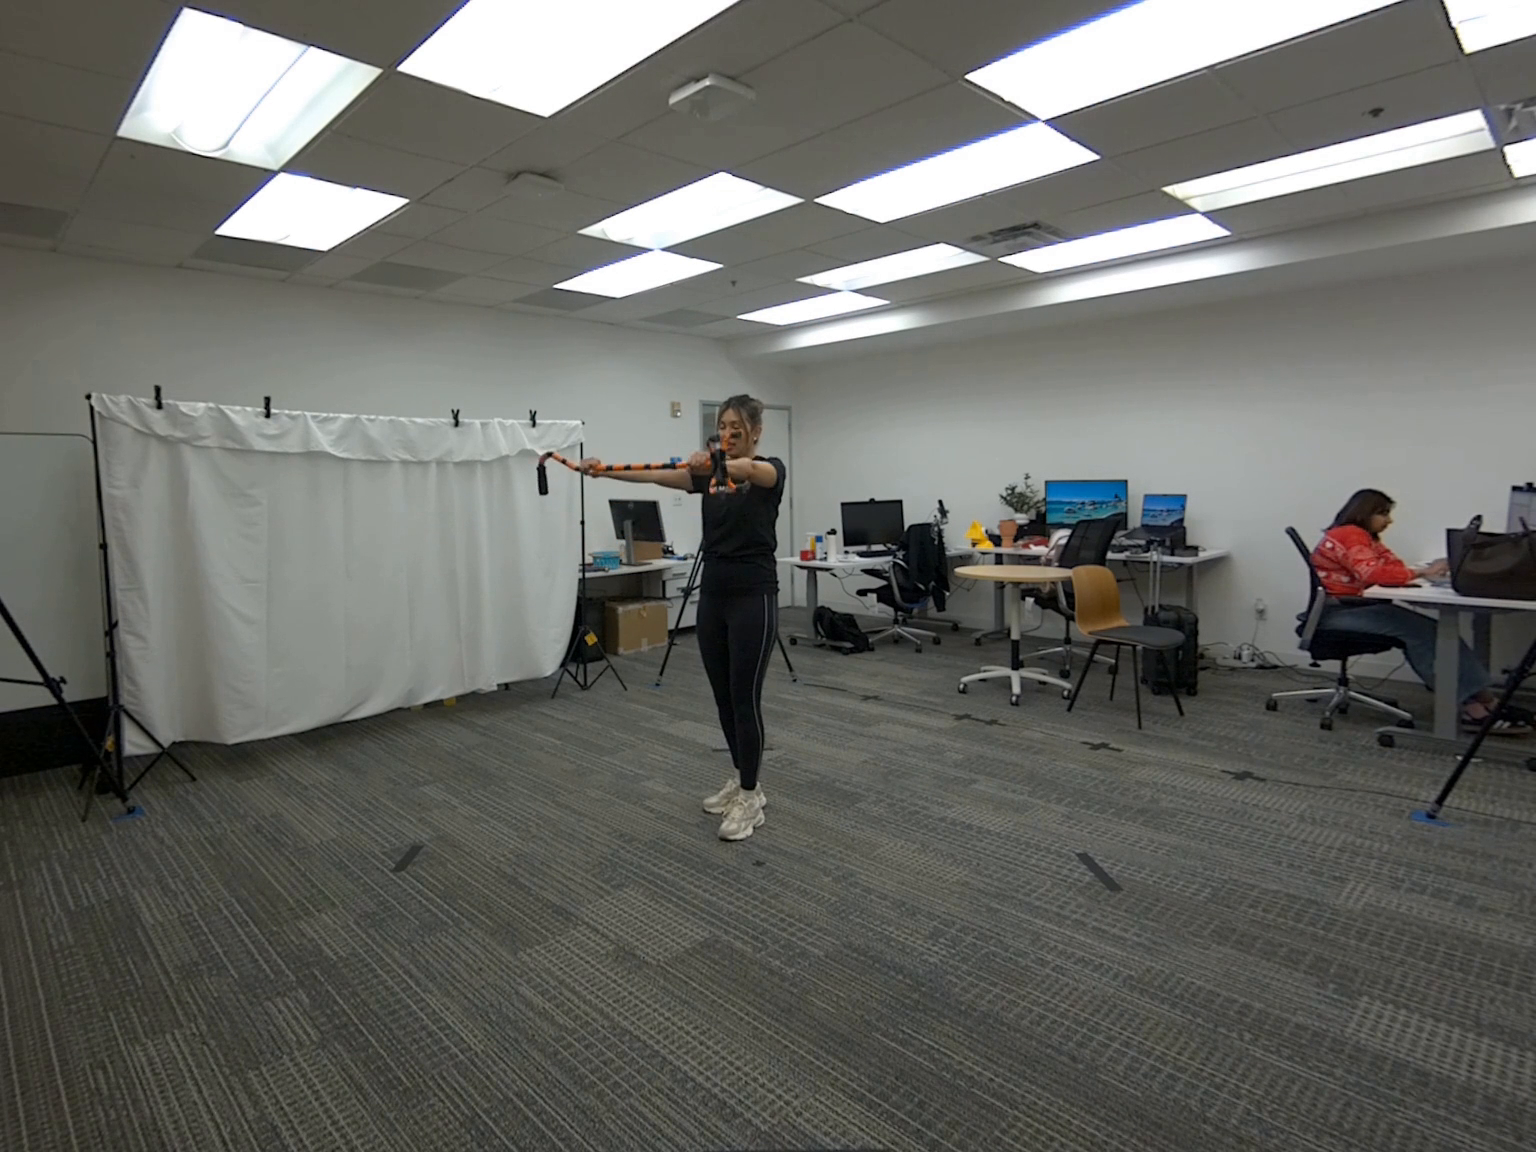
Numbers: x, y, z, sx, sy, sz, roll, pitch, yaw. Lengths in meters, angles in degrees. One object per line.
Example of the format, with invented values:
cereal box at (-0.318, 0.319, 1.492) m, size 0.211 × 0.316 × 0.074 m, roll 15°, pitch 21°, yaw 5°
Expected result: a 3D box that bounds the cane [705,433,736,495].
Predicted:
cane at (-0.509, -0.379, 2.993) m, size 0.934 × 0.204 × 0.149 m, roll 3°, pitch 13°, yaw 35°
